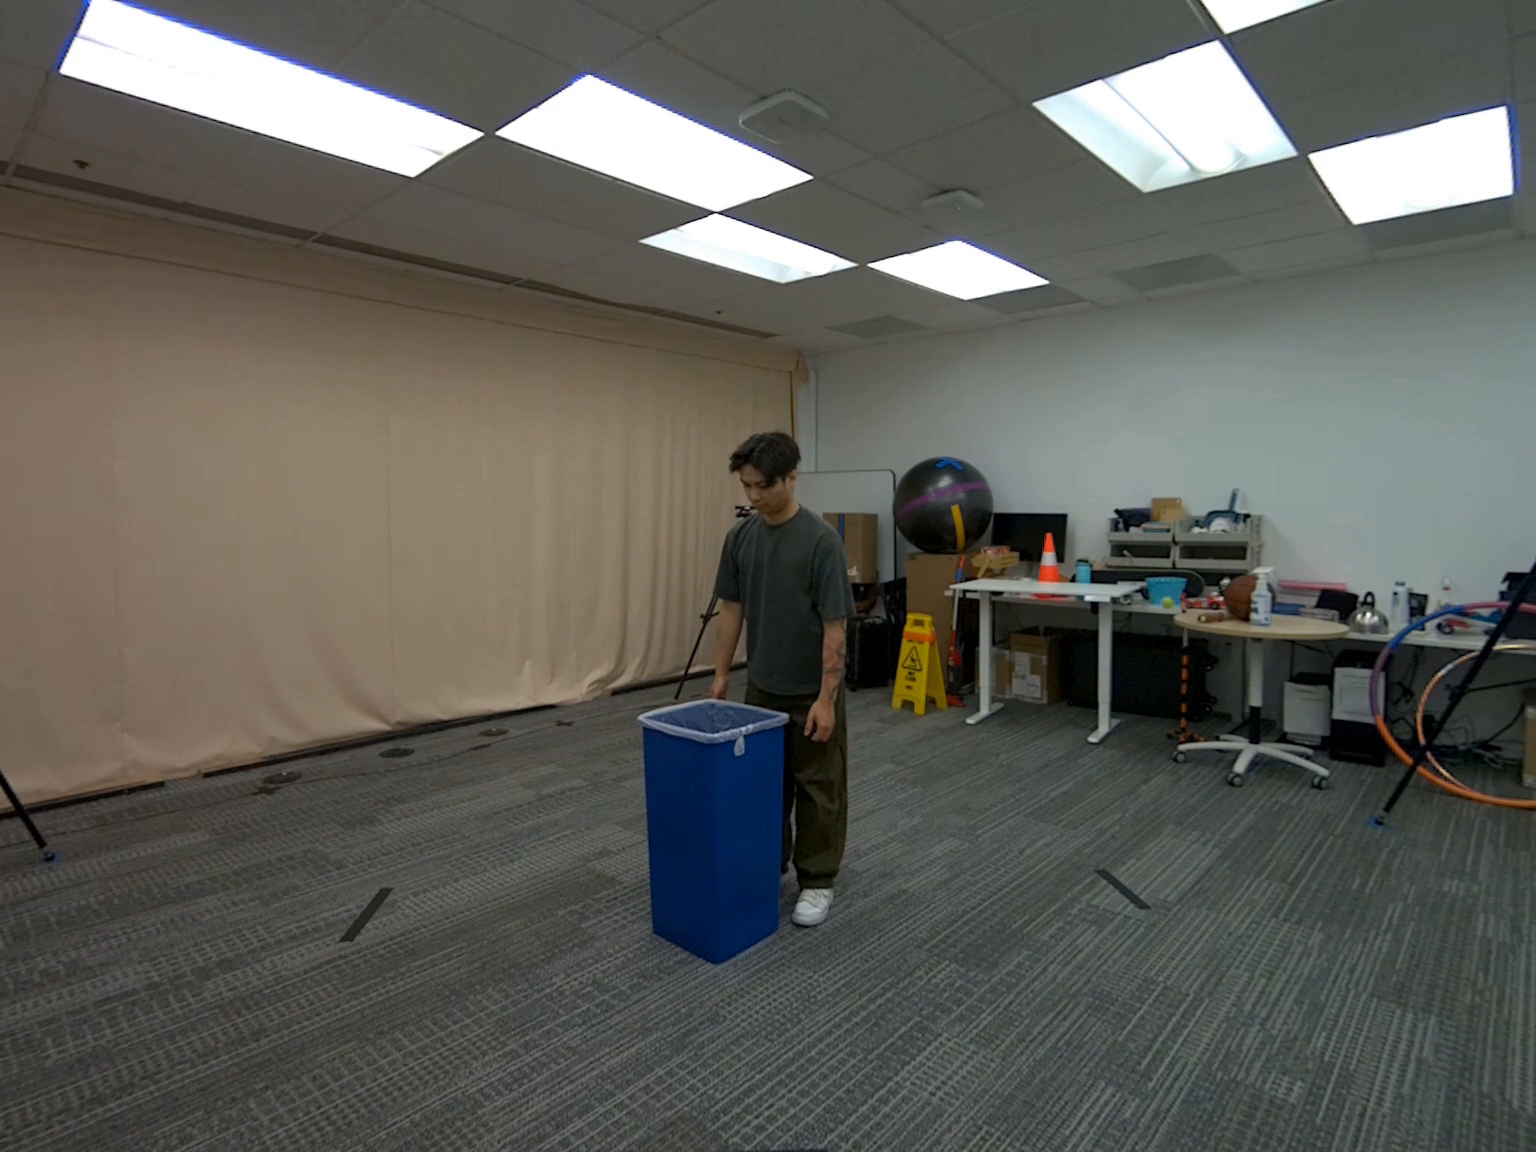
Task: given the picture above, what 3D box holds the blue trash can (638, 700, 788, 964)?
[{"bbox_3d":[-0.173,0.807,2.736,0.390,0.712,0.362,2,3,42],"label":"blue trash can"}]
